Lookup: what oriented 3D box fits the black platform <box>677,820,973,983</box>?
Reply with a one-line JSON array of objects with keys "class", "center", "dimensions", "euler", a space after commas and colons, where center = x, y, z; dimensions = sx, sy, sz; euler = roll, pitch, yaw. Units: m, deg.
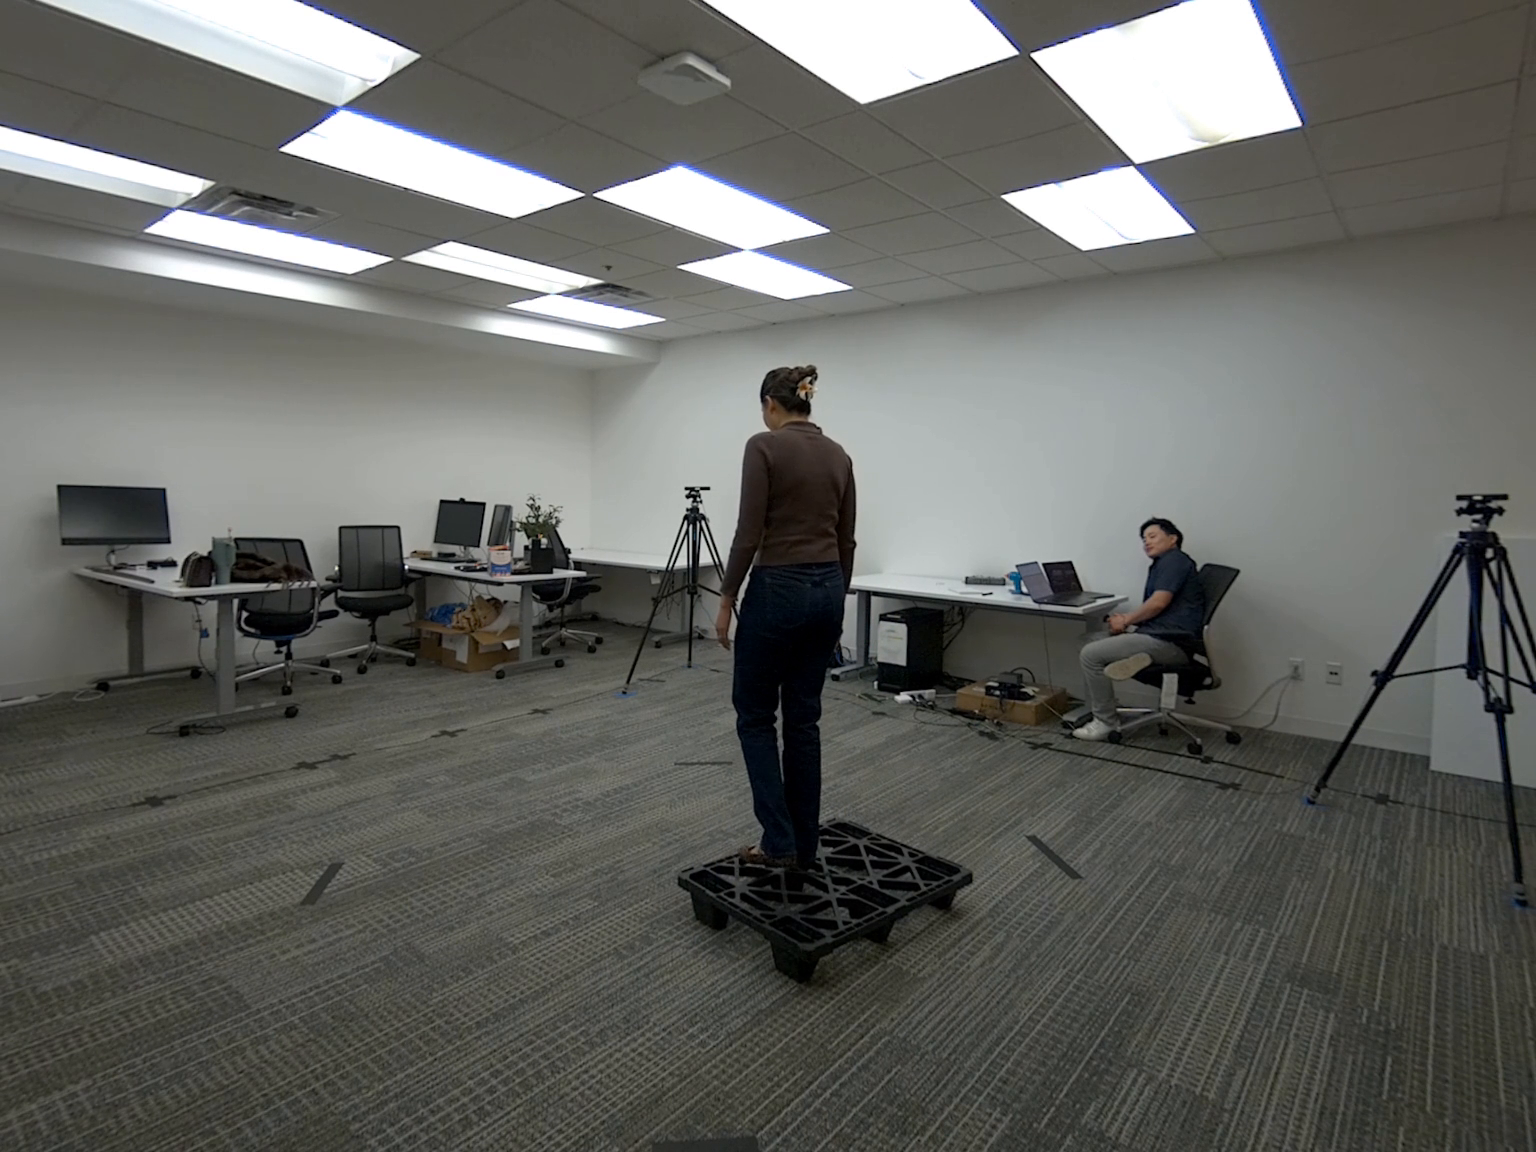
[{"class": "black platform", "center": [0.179, 1.037, 2.795], "dimensions": [0.781, 0.143, 0.626], "euler": [-4, 7, -42]}]
